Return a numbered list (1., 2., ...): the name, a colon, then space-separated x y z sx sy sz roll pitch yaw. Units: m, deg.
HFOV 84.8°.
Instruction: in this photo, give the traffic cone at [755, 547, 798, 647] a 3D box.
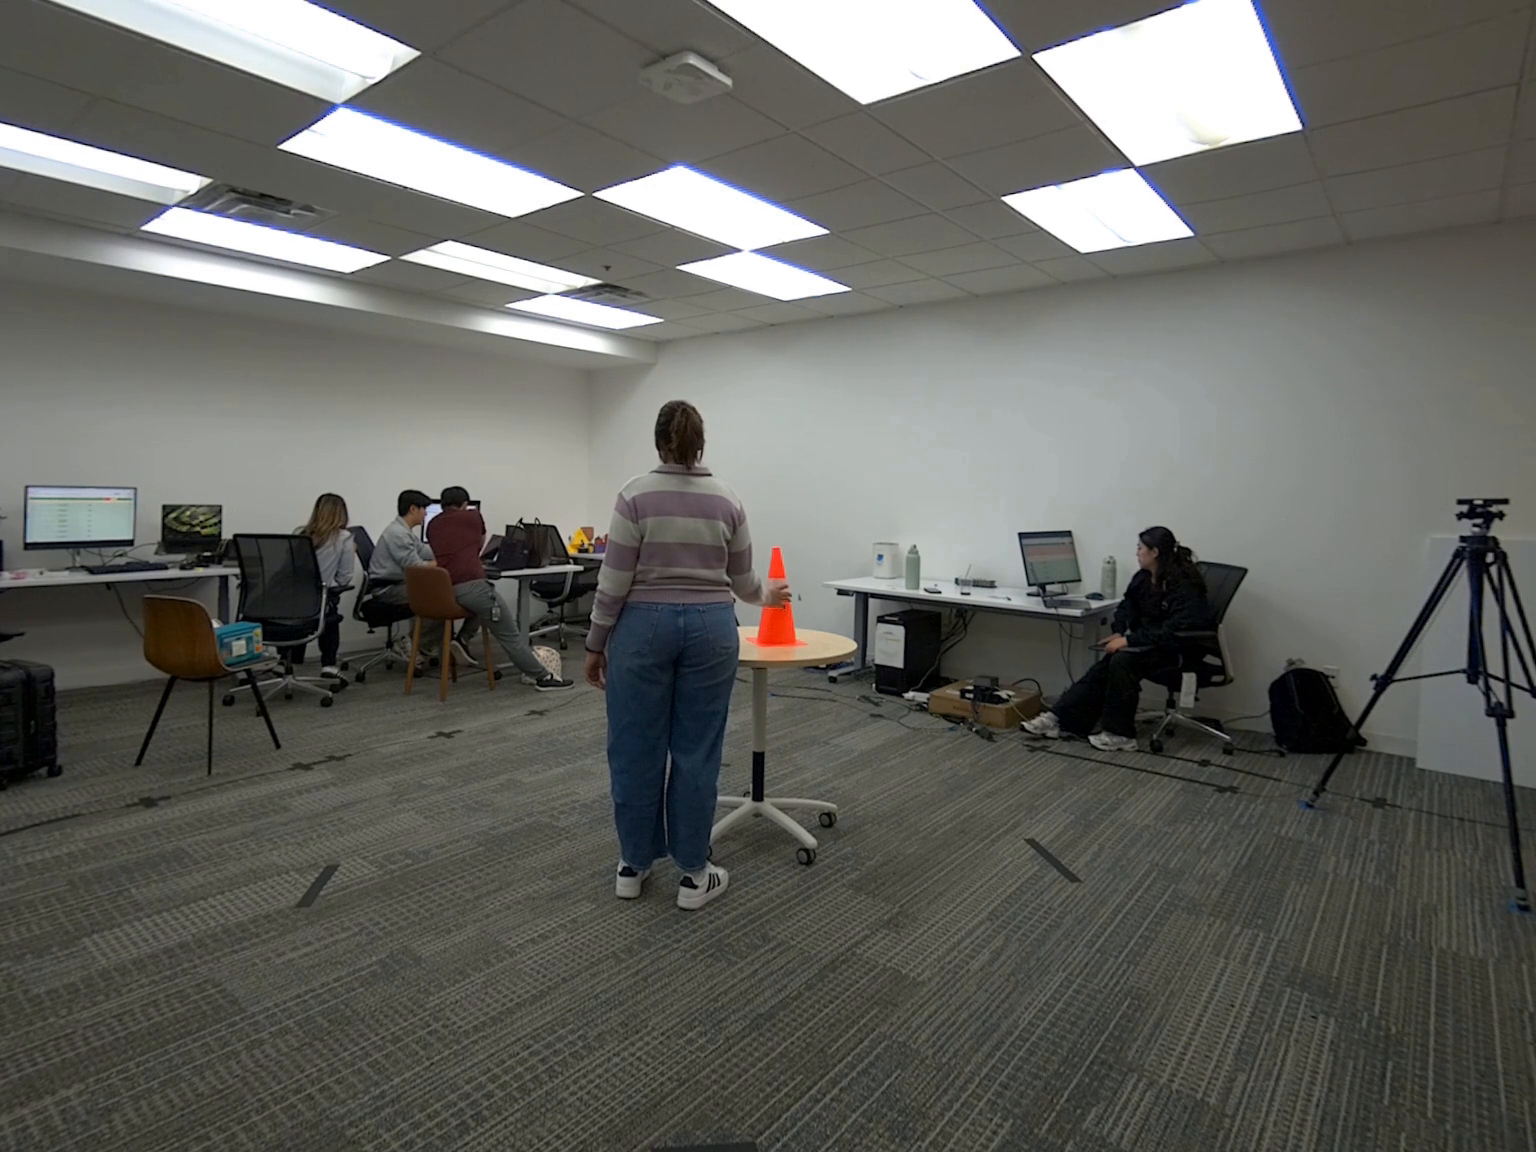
1. traffic cone: 0.025 0.075 3.392 0.199 0.382 0.210 -1 5 -20
